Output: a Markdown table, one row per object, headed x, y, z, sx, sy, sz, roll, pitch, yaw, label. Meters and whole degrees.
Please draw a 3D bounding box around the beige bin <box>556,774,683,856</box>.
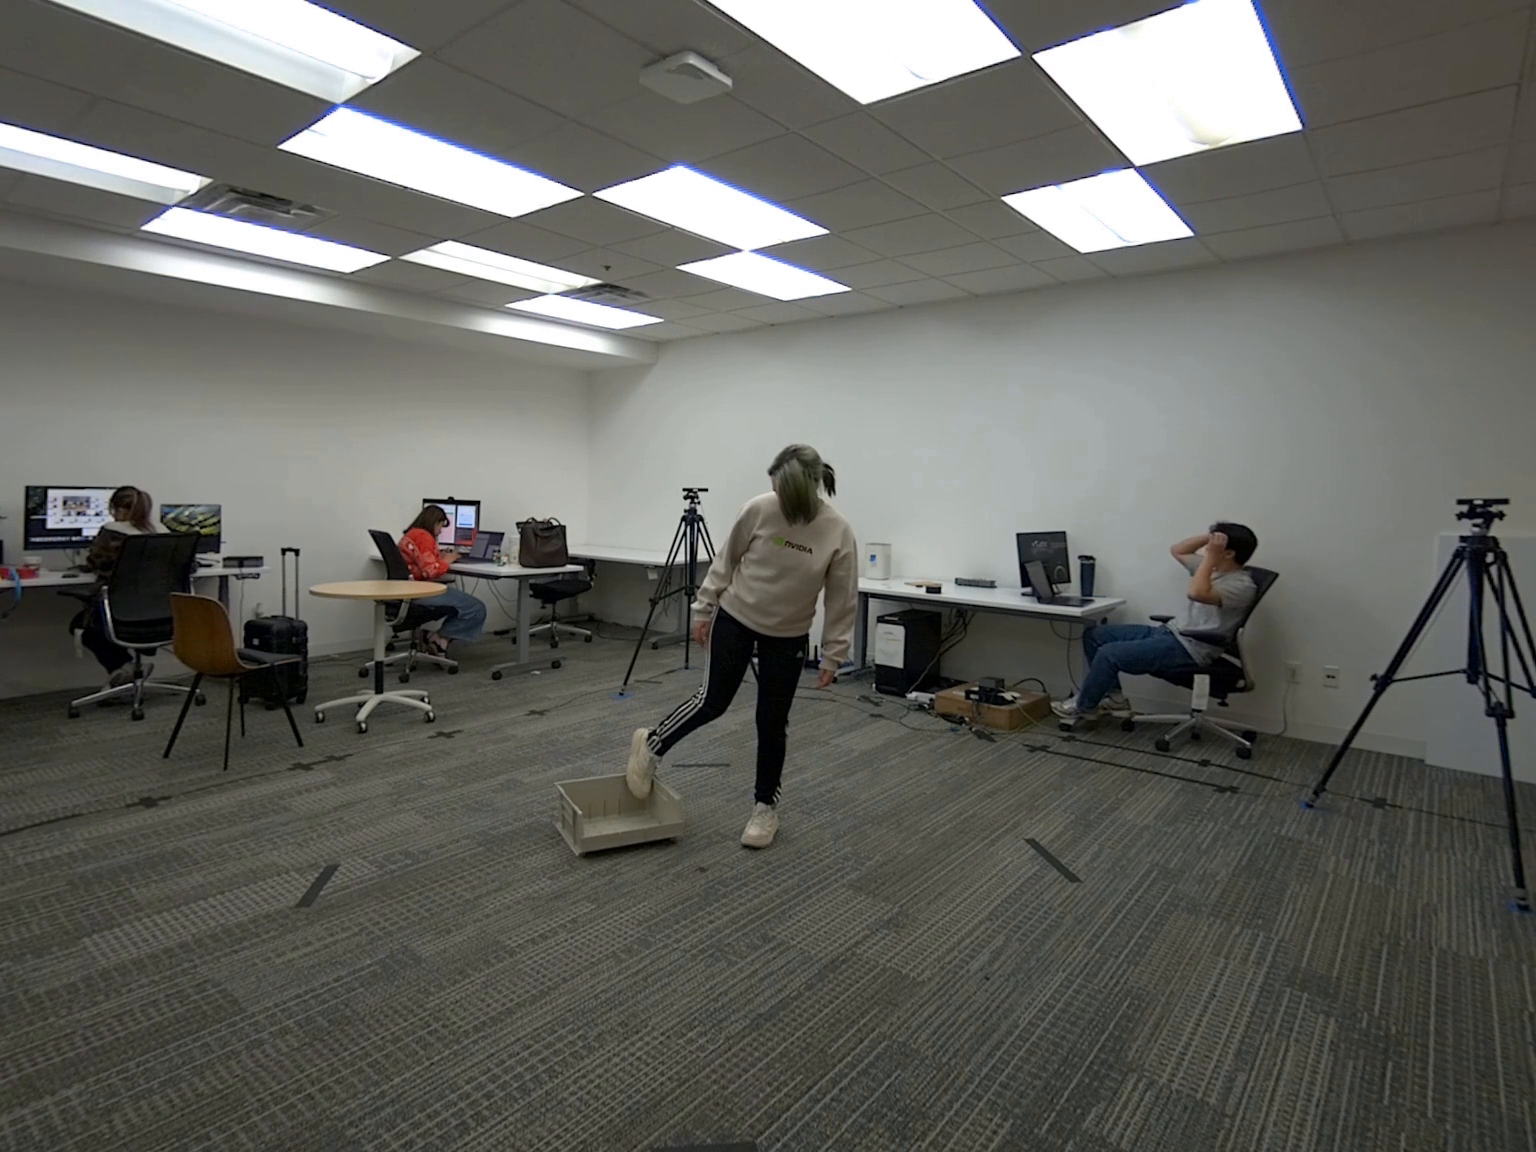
| x | y | z | sx | sy | sz | roll | pitch | yaw | label |
| --- | --- | --- | --- | --- | --- | --- | --- | --- | --- |
| -0.612 | 0.943 | 3.399 | 0.412 | 0.188 | 0.388 | -3 | 6 | -28 | beige bin |
